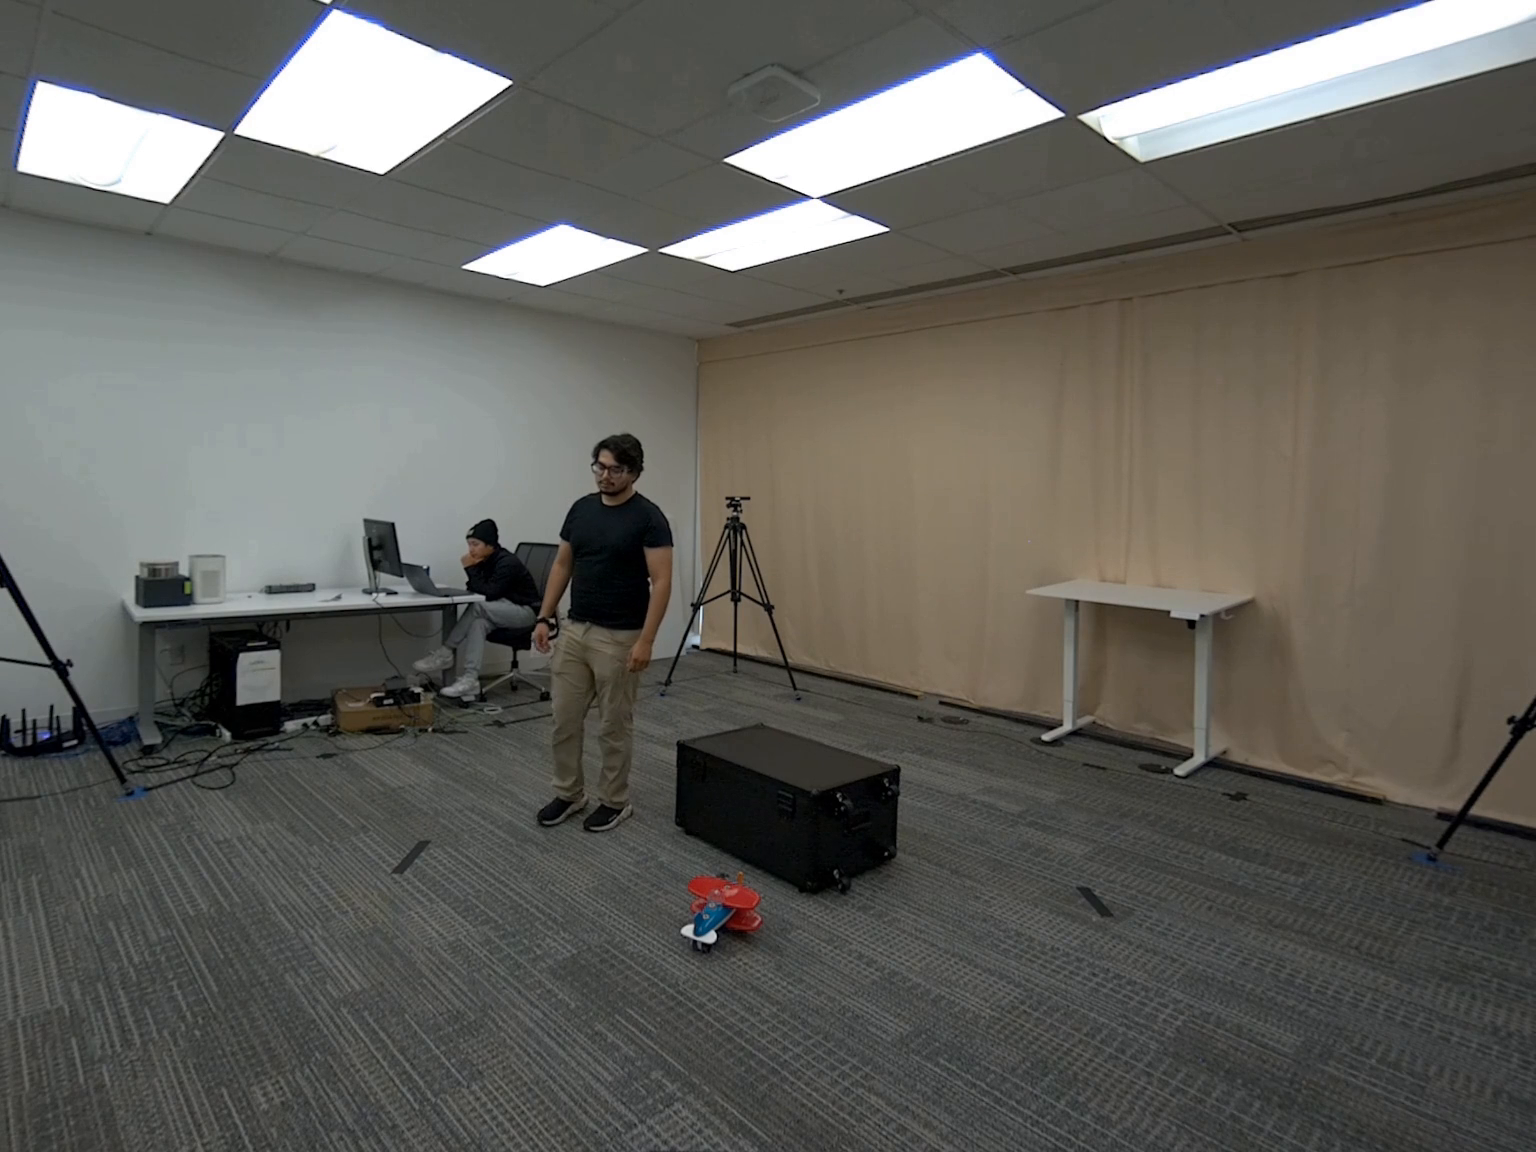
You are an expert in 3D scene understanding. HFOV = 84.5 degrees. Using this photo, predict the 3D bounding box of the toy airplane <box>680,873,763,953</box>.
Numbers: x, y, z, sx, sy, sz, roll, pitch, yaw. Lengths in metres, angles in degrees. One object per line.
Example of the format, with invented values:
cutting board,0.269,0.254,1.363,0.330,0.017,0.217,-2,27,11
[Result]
toy airplane,-0.148,1.071,2.651,0.252,0.156,0.259,1,3,2
